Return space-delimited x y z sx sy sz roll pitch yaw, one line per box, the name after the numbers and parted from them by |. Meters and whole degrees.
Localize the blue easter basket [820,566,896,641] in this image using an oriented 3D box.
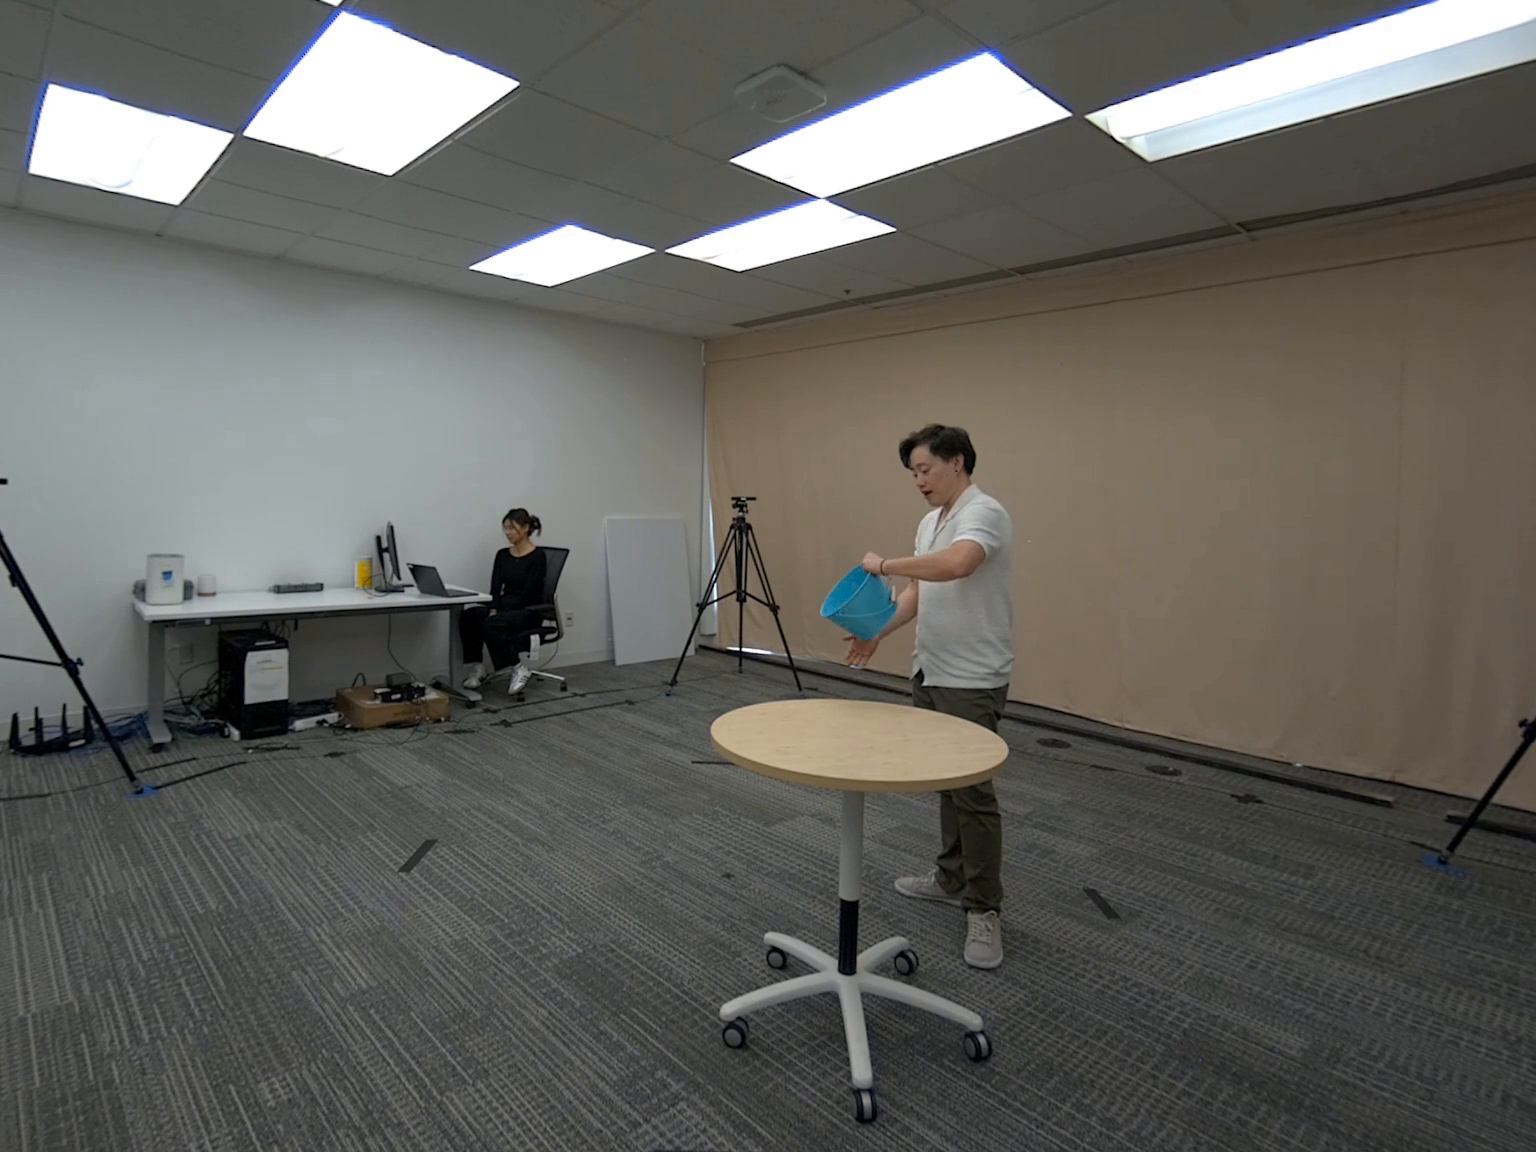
0.313 0.068 2.719 0.154 0.243 0.246 41 -2 -10 | blue easter basket
